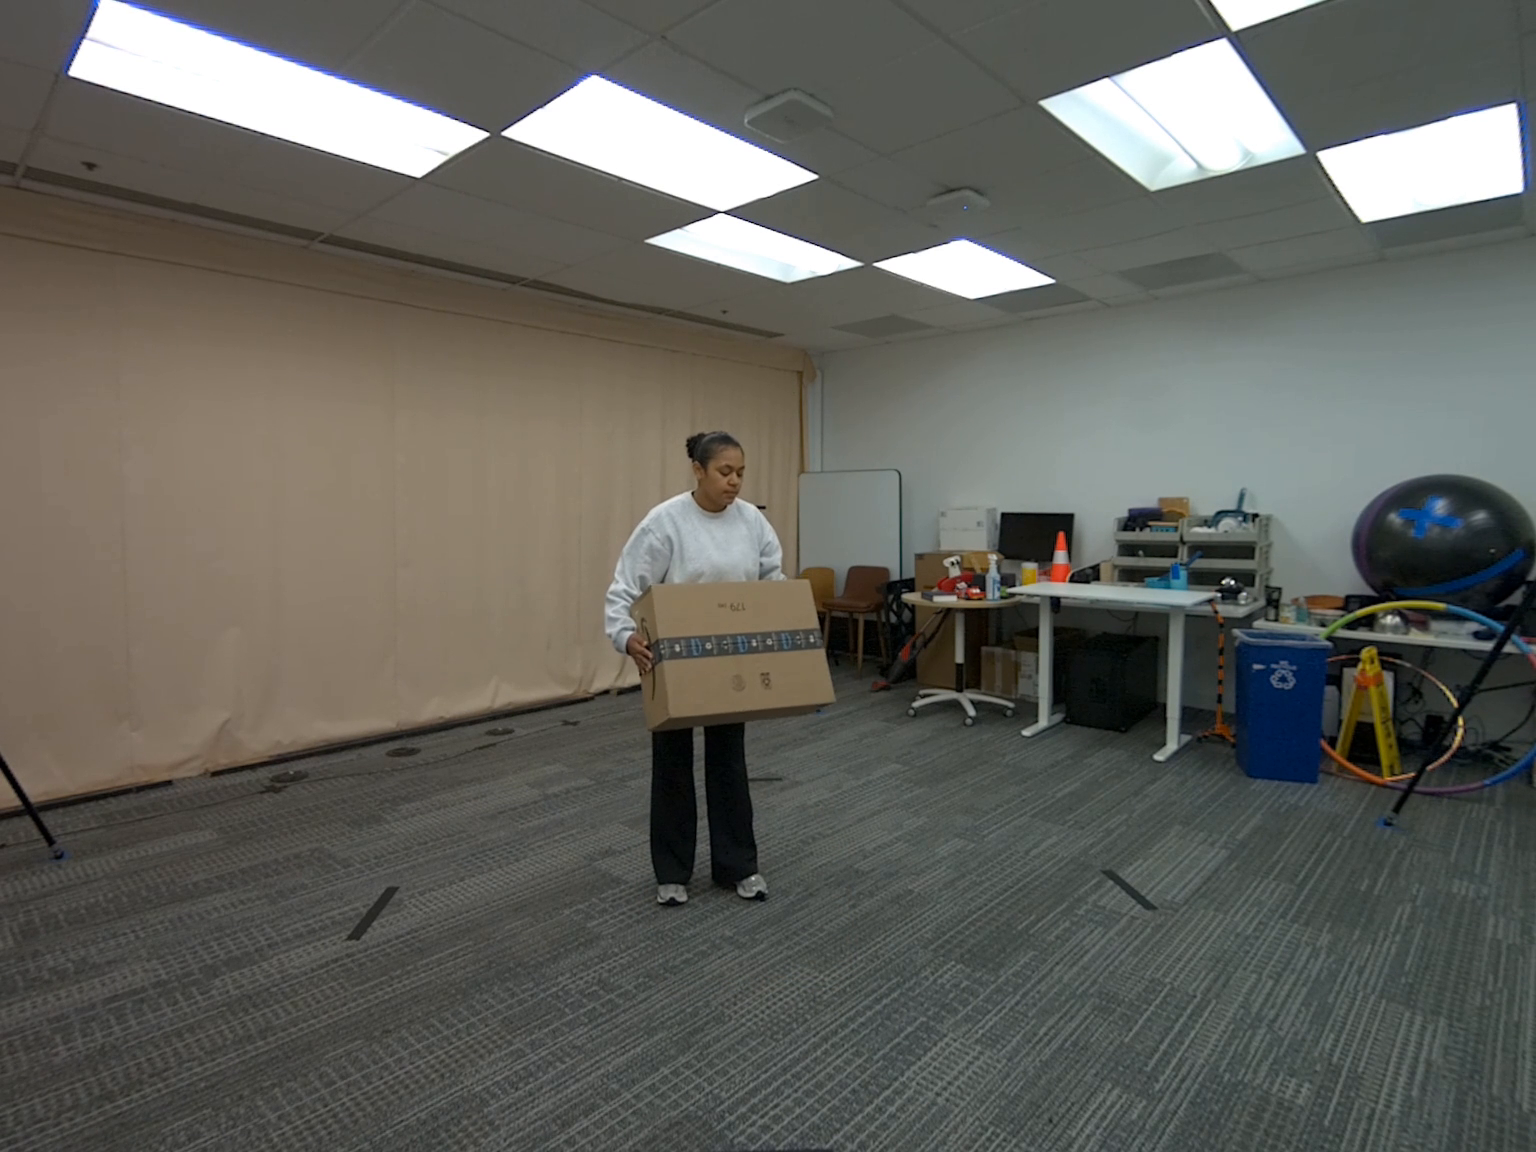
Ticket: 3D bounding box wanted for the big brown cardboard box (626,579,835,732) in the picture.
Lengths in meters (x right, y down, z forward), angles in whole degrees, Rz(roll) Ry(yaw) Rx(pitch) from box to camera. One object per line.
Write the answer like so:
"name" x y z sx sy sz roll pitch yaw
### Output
"big brown cardboard box" -0.112 0.244 2.705 0.575 0.423 0.235 -2 -20 -24
